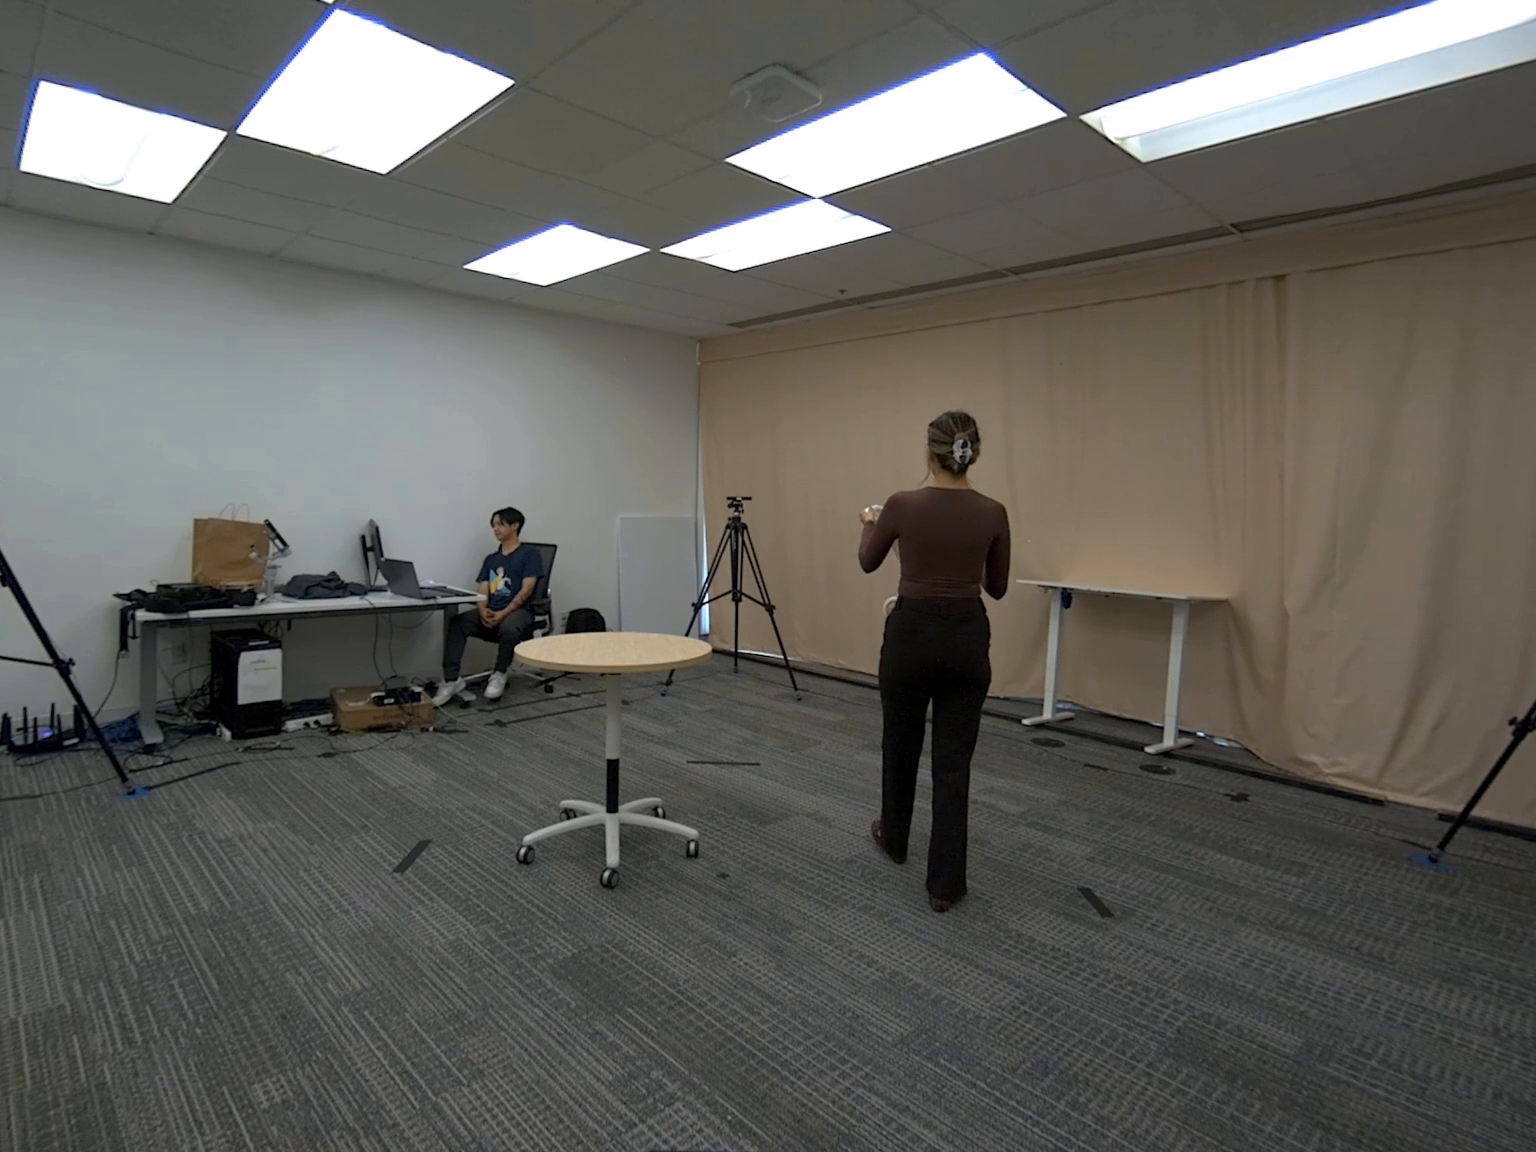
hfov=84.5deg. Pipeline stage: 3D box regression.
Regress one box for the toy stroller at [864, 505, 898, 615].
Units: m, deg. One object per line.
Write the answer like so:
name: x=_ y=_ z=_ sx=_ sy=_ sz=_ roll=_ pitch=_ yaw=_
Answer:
toy stroller: x=0.621 y=-0.049 z=3.411 sx=0.347 sy=0.535 sz=0.277 roll=-12 pitch=1 yaw=31
